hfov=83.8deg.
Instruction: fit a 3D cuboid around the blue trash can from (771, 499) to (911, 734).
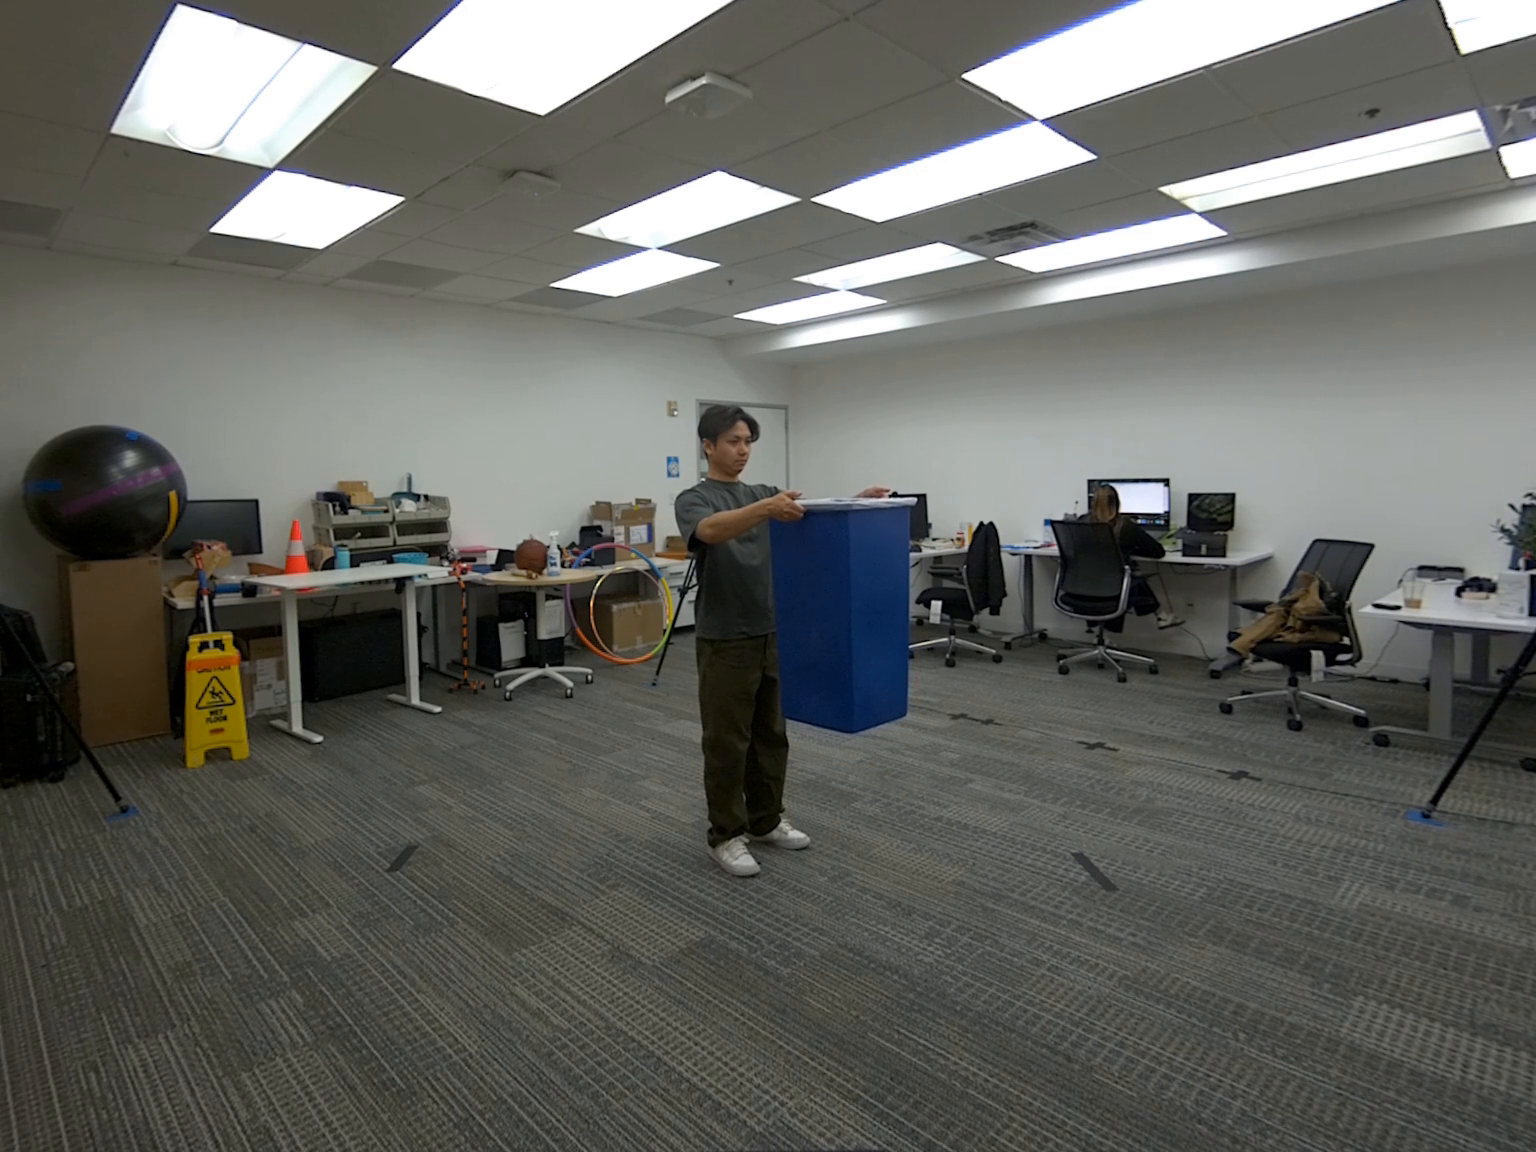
[{"bbox_3d":[0.257,0.112,2.790,0.385,0.711,0.368,1,5,45],"label":"blue trash can"}]
